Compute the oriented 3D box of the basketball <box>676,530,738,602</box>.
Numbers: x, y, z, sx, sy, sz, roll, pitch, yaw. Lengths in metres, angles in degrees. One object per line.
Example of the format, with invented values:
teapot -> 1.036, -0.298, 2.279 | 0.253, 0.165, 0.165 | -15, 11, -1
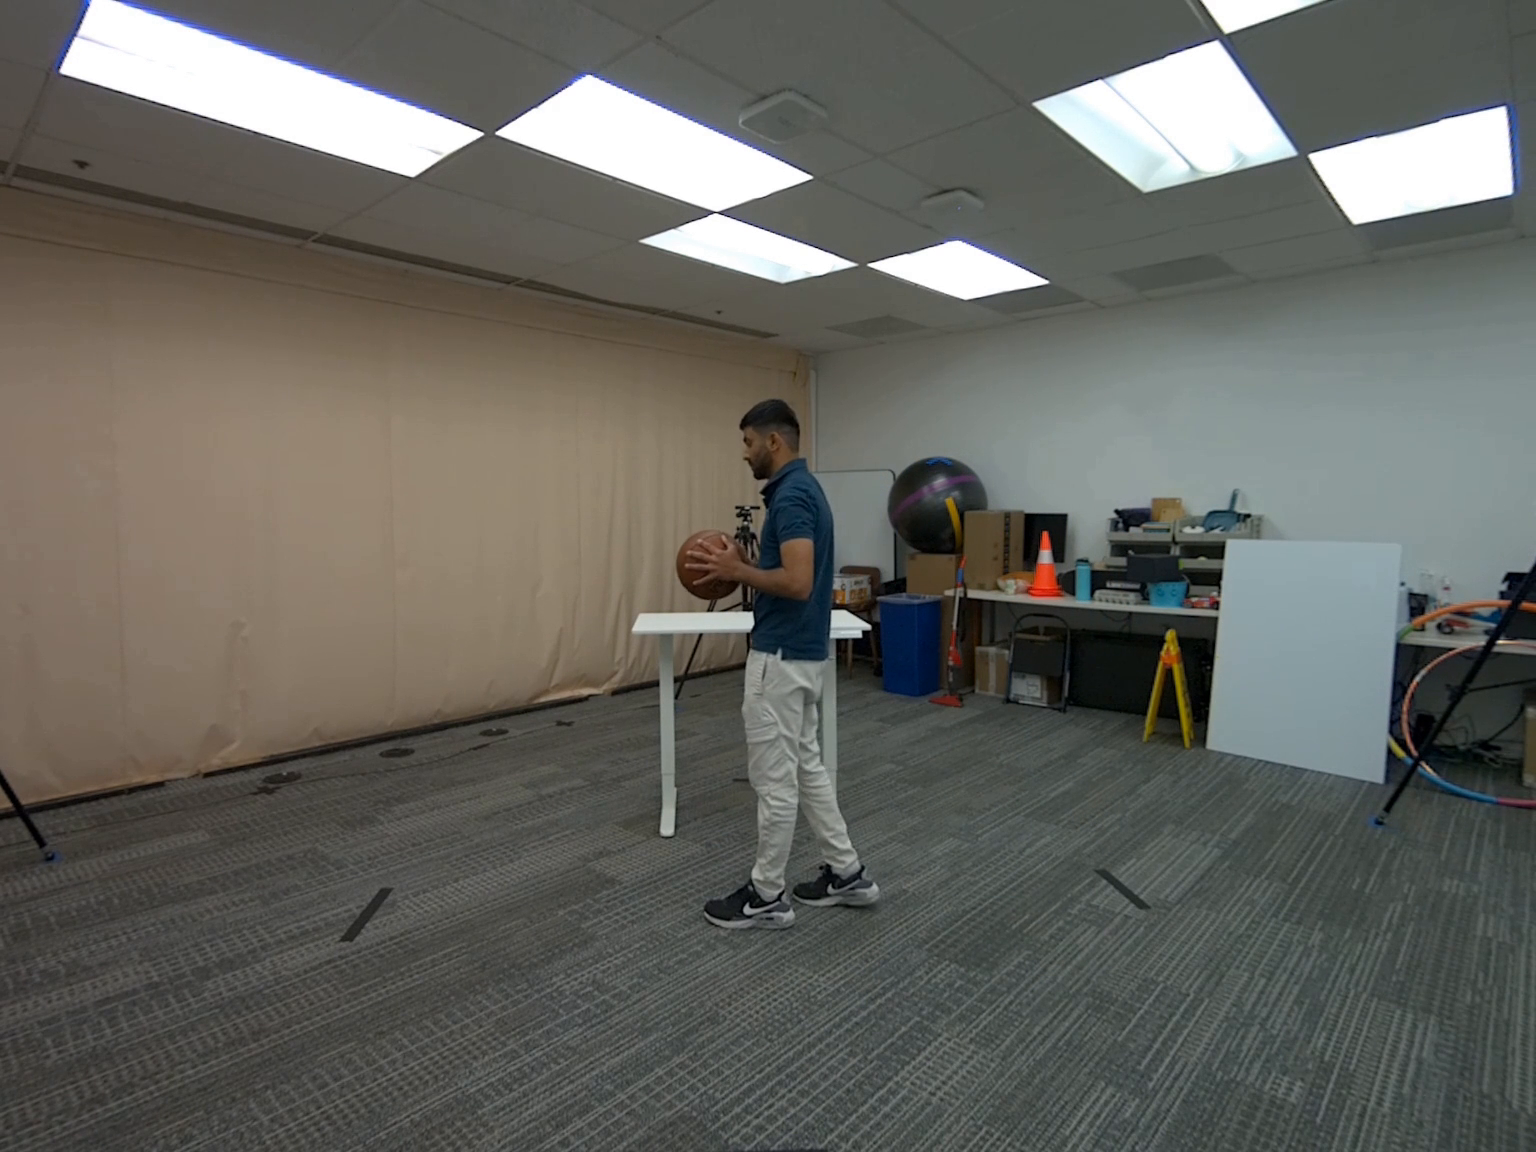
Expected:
basketball -> -0.188, -0.038, 2.873 | 0.236, 0.235, 0.237 | 0, 4, -2
